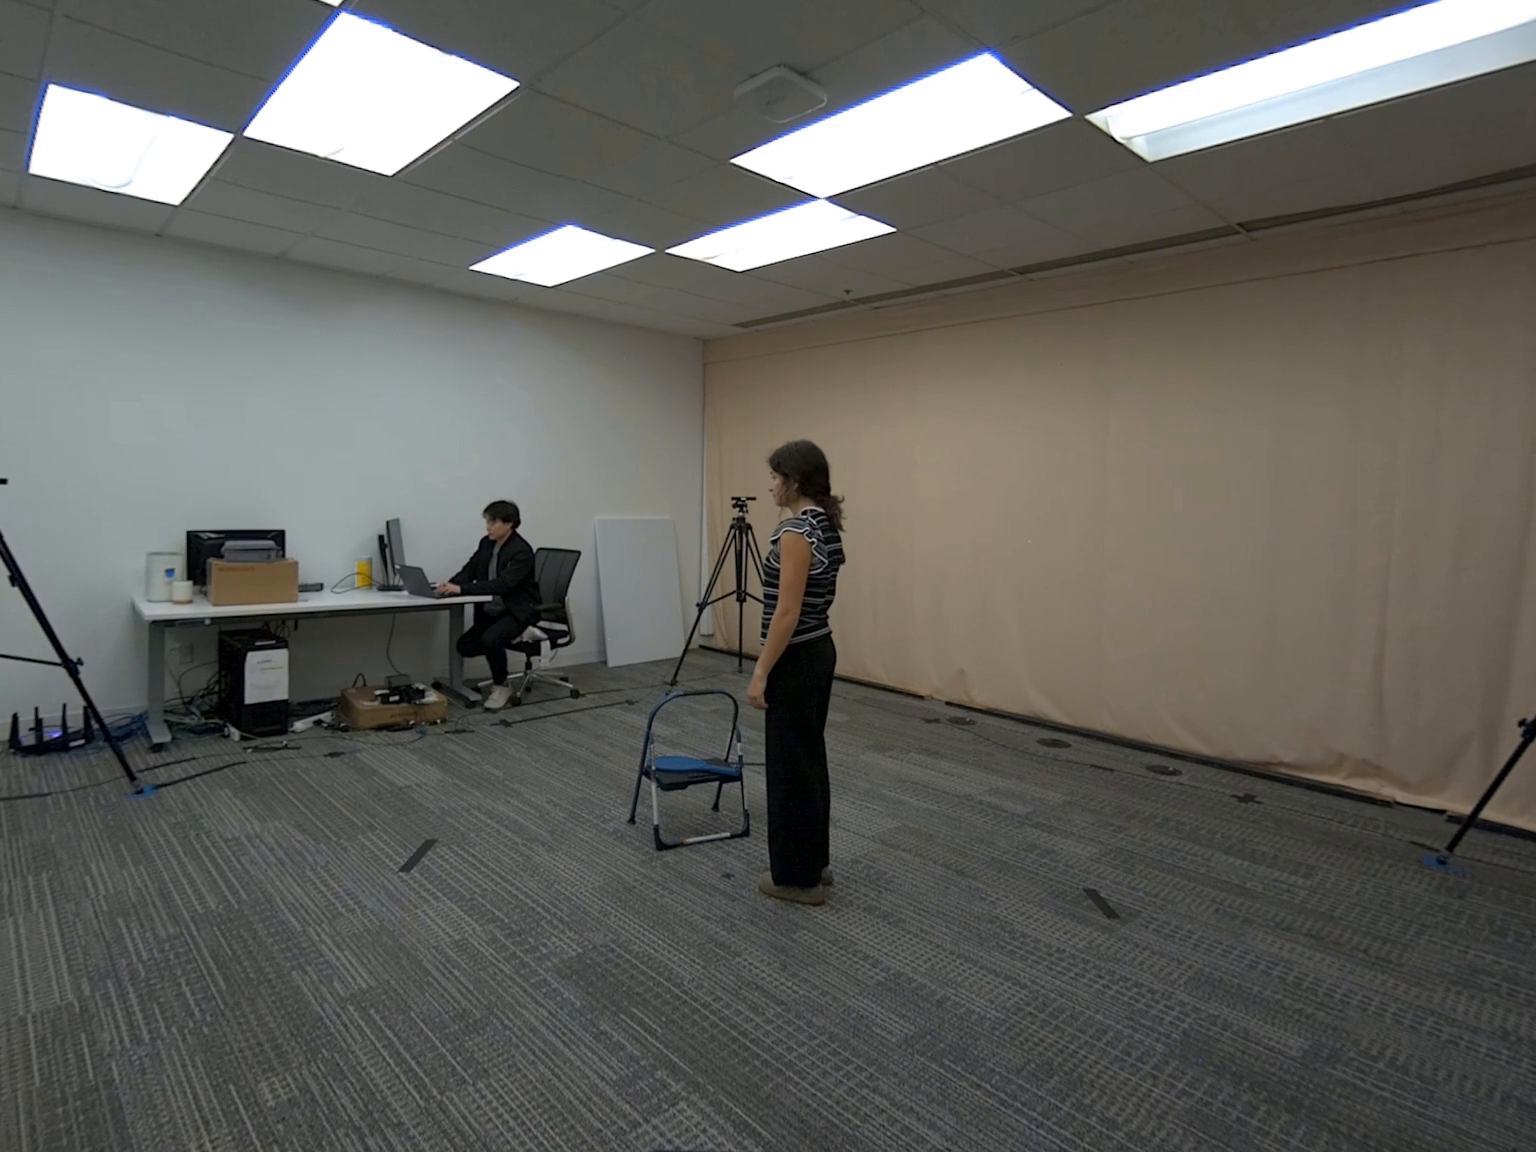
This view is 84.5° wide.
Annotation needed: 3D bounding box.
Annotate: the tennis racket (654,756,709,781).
[{"bbox_3d":[-0.316,0.798,3.514,0.441,0.032,0.210,1,2,25],"label":"tennis racket"}]
